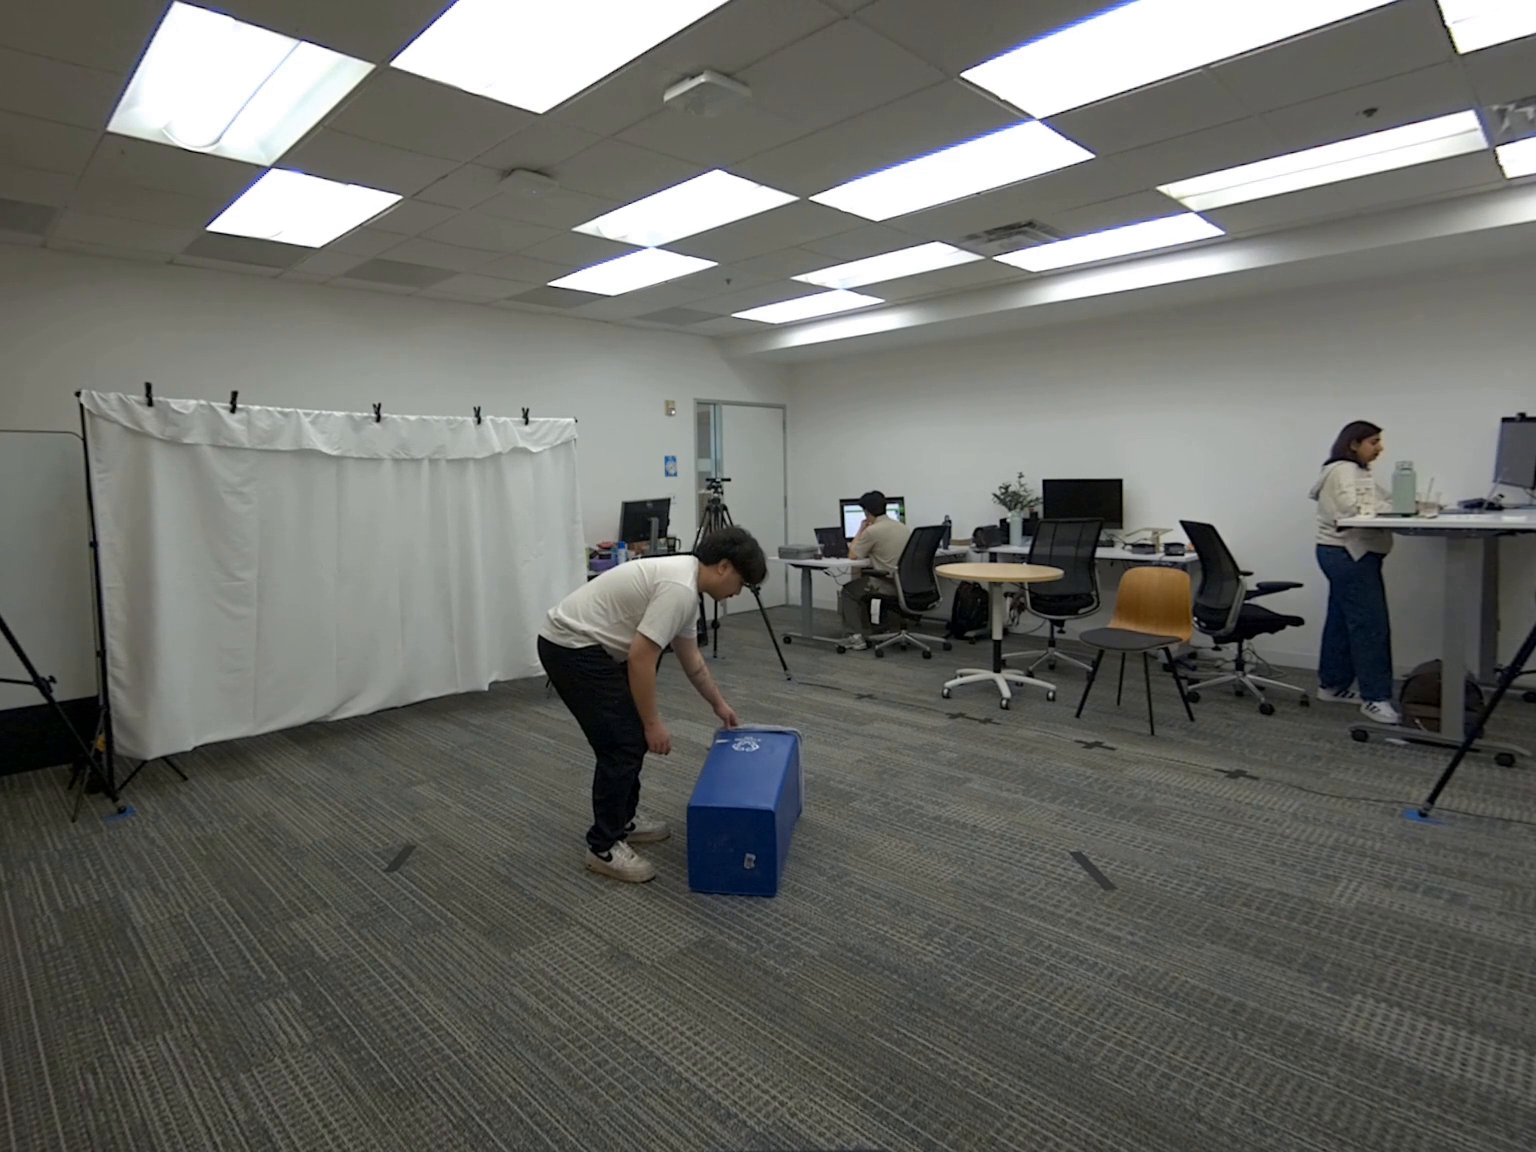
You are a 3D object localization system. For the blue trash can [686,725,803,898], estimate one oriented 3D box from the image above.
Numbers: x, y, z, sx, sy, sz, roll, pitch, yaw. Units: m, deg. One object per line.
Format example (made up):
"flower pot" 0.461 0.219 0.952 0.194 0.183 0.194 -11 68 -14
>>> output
"blue trash can" -0.075 0.865 3.200 0.377 0.375 0.714 0 9 6
